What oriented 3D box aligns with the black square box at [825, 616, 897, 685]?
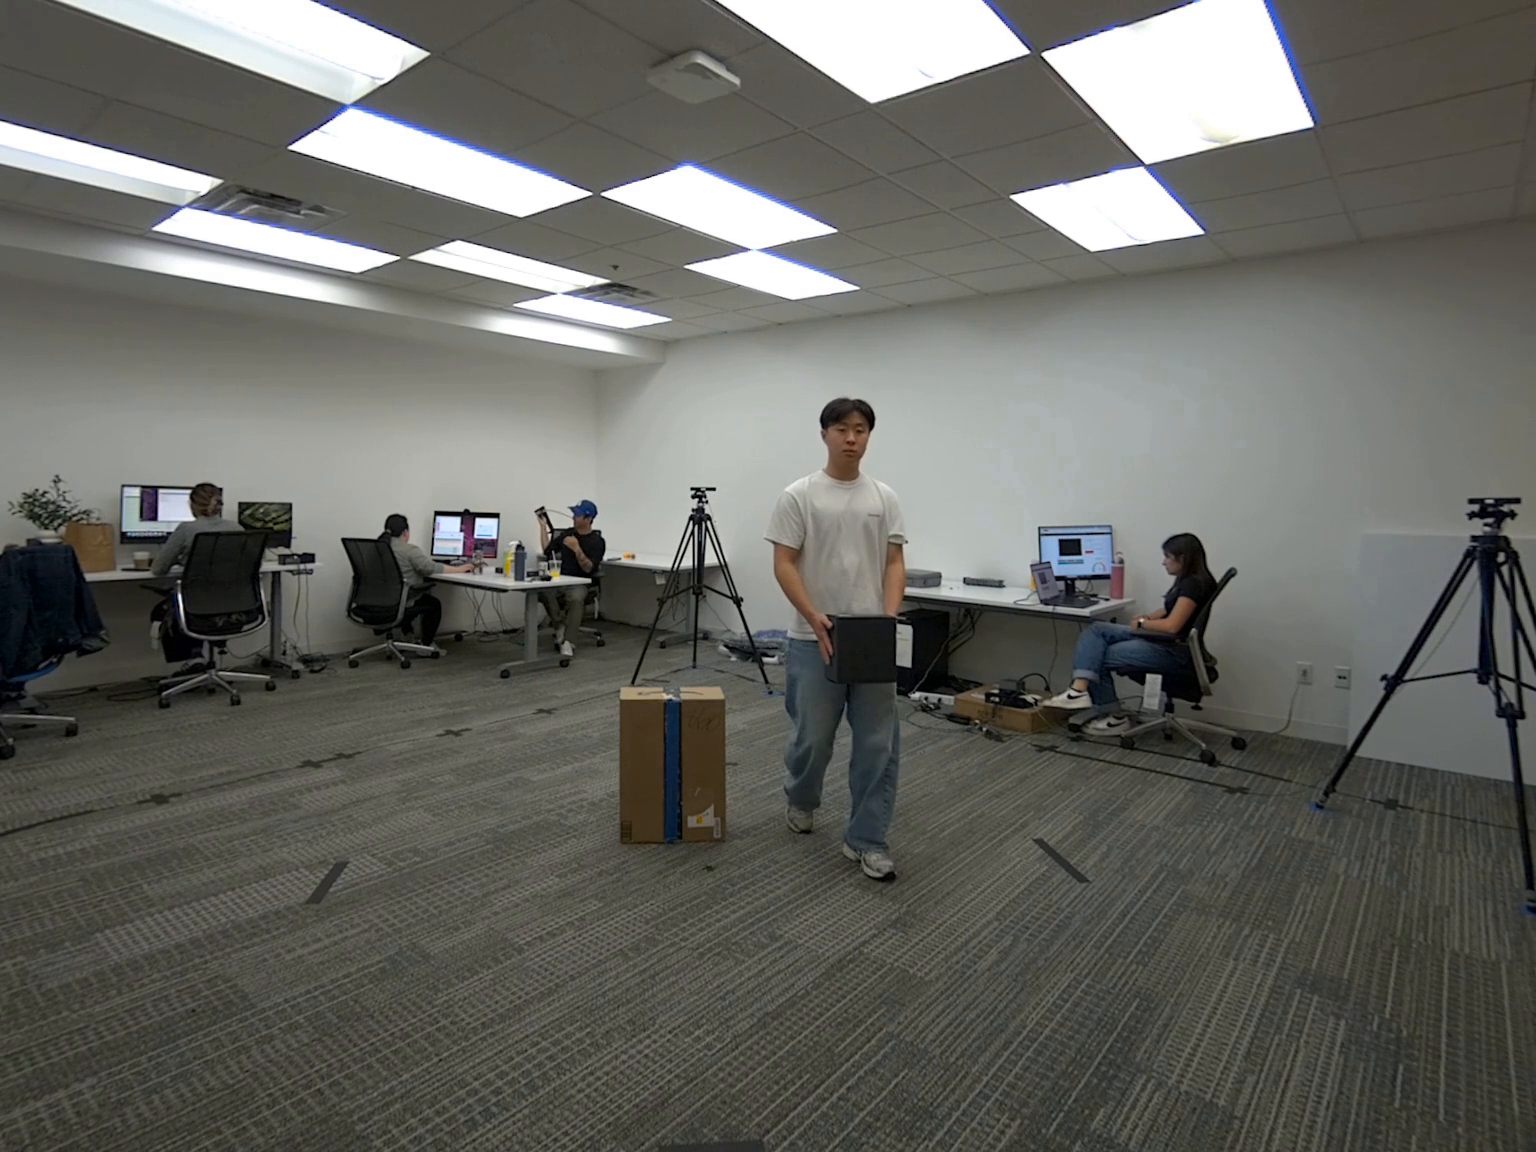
[{"bbox_3d":[0.308,0.250,2.994,0.214,0.228,0.158,-1,1,-12],"label":"black square box"}]
